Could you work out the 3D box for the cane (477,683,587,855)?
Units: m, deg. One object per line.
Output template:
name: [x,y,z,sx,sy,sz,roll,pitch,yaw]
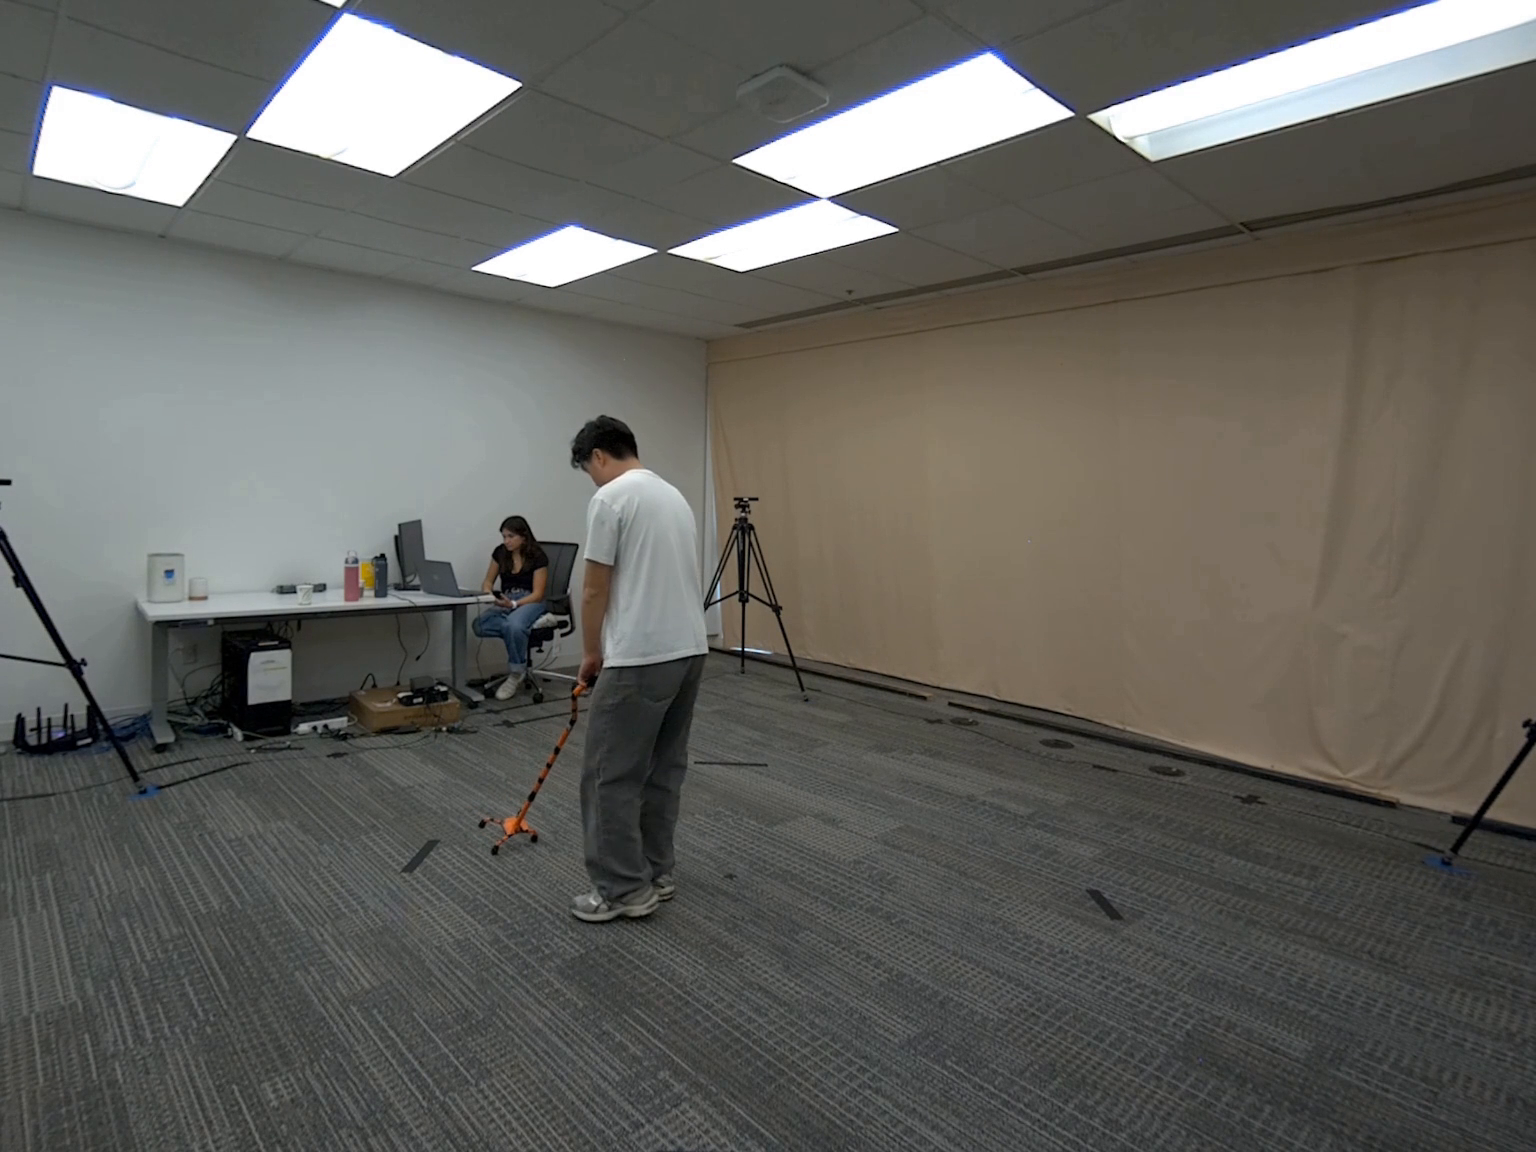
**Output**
cane: [-0.829,0.693,3.126,0.202,0.903,0.156,-6,46,-49]
